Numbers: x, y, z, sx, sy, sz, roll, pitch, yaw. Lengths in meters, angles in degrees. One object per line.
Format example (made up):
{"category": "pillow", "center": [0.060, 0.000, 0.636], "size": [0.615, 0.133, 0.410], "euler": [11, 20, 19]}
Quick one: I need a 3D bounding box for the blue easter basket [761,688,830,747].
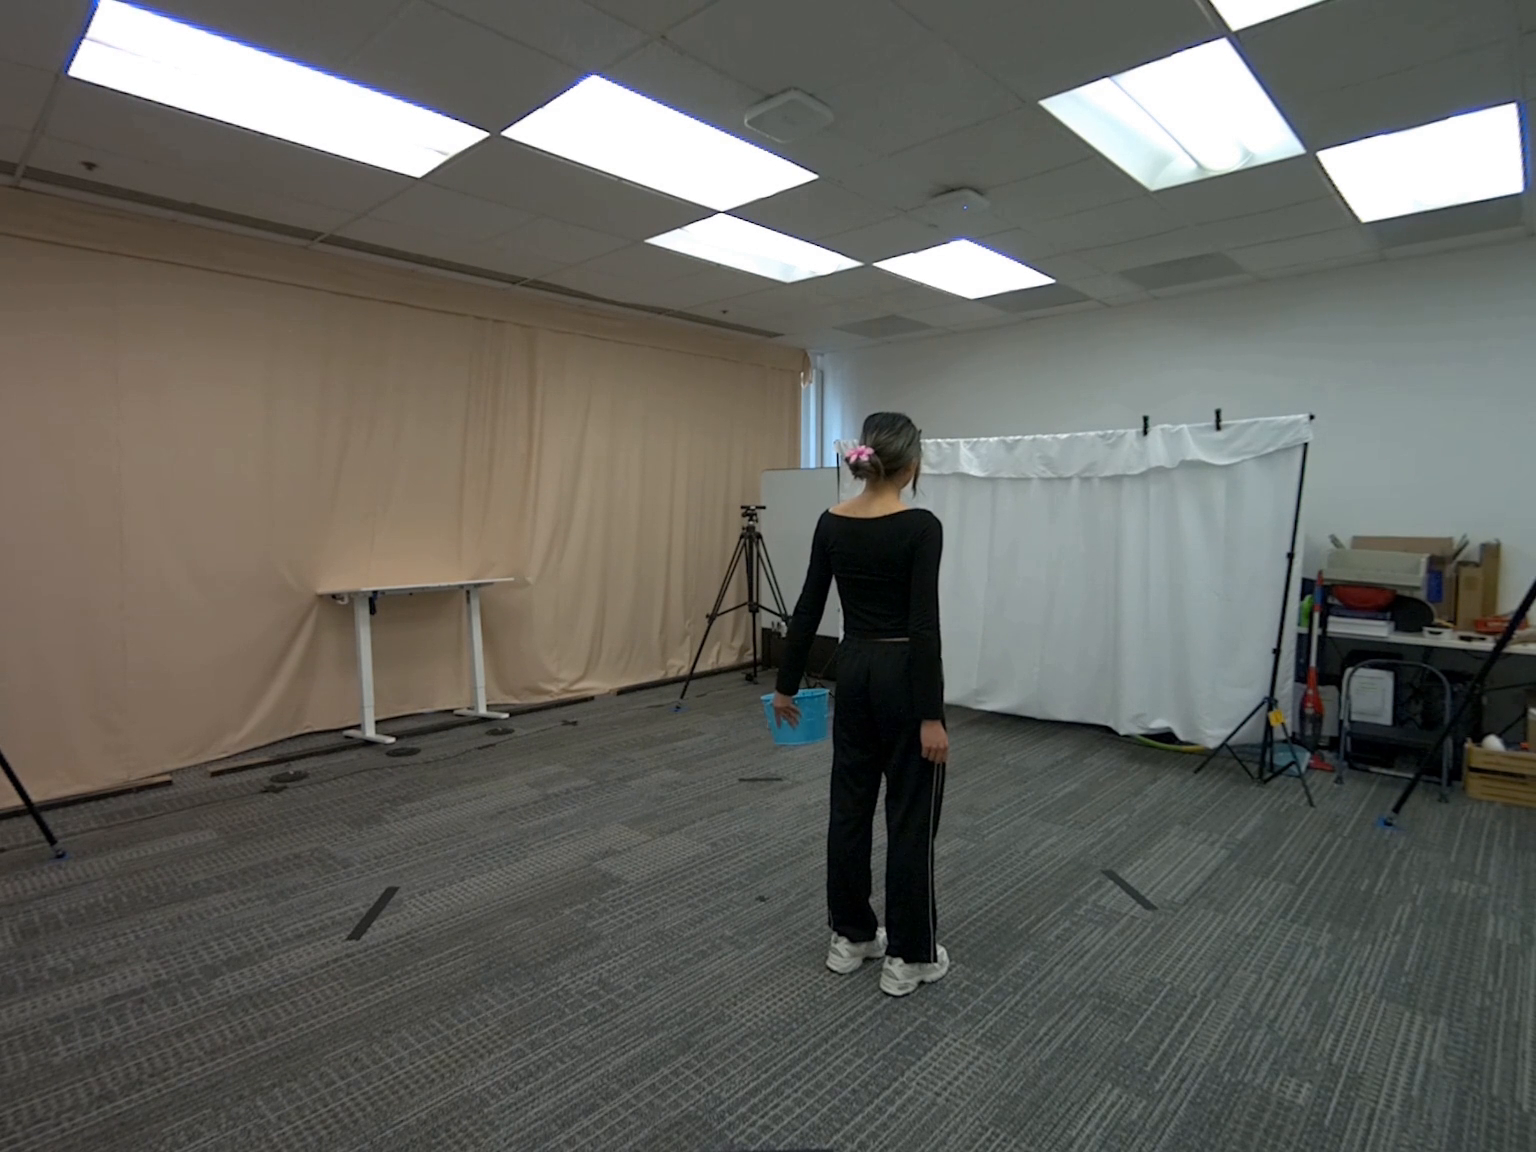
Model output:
{"category": "blue easter basket", "center": [0.098, 0.468, 2.802], "size": [0.243, 0.156, 0.243], "euler": [-6, -4, -2]}
